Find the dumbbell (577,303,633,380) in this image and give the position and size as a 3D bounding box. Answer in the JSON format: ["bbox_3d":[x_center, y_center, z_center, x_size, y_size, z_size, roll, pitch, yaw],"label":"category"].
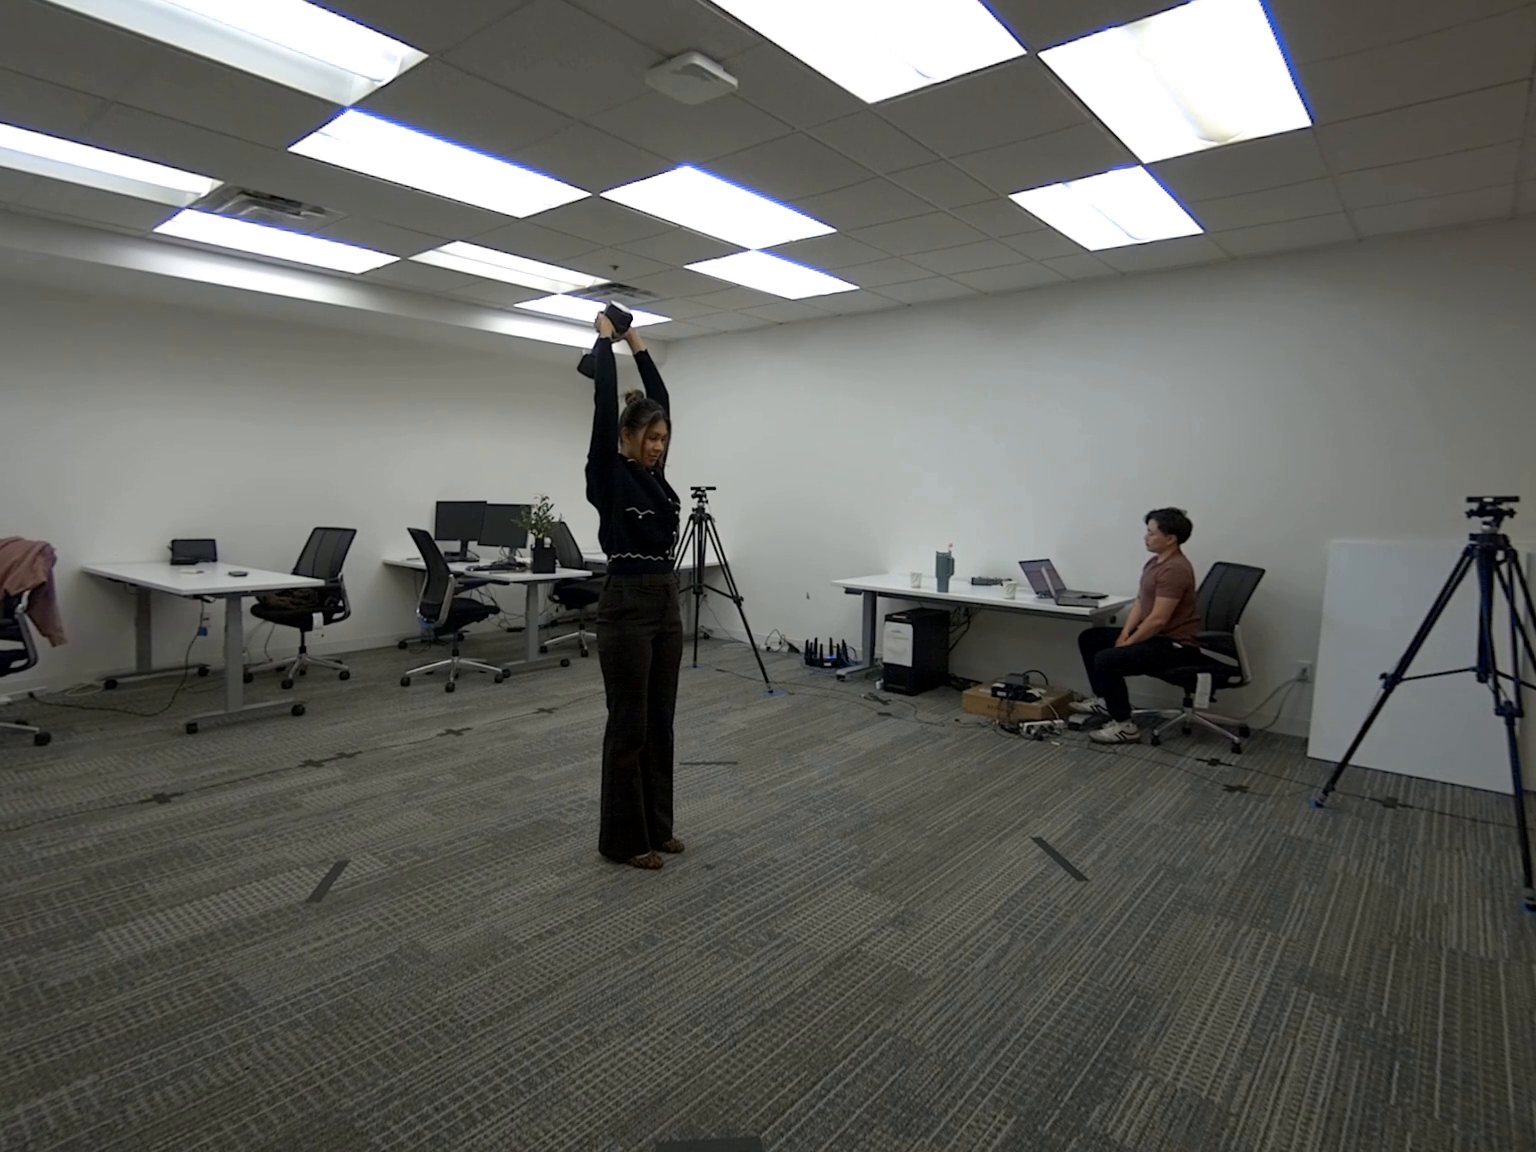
[{"bbox_3d":[-0.637,-0.897,3.236,0.124,0.292,0.108,33,20,4],"label":"dumbbell"}]
